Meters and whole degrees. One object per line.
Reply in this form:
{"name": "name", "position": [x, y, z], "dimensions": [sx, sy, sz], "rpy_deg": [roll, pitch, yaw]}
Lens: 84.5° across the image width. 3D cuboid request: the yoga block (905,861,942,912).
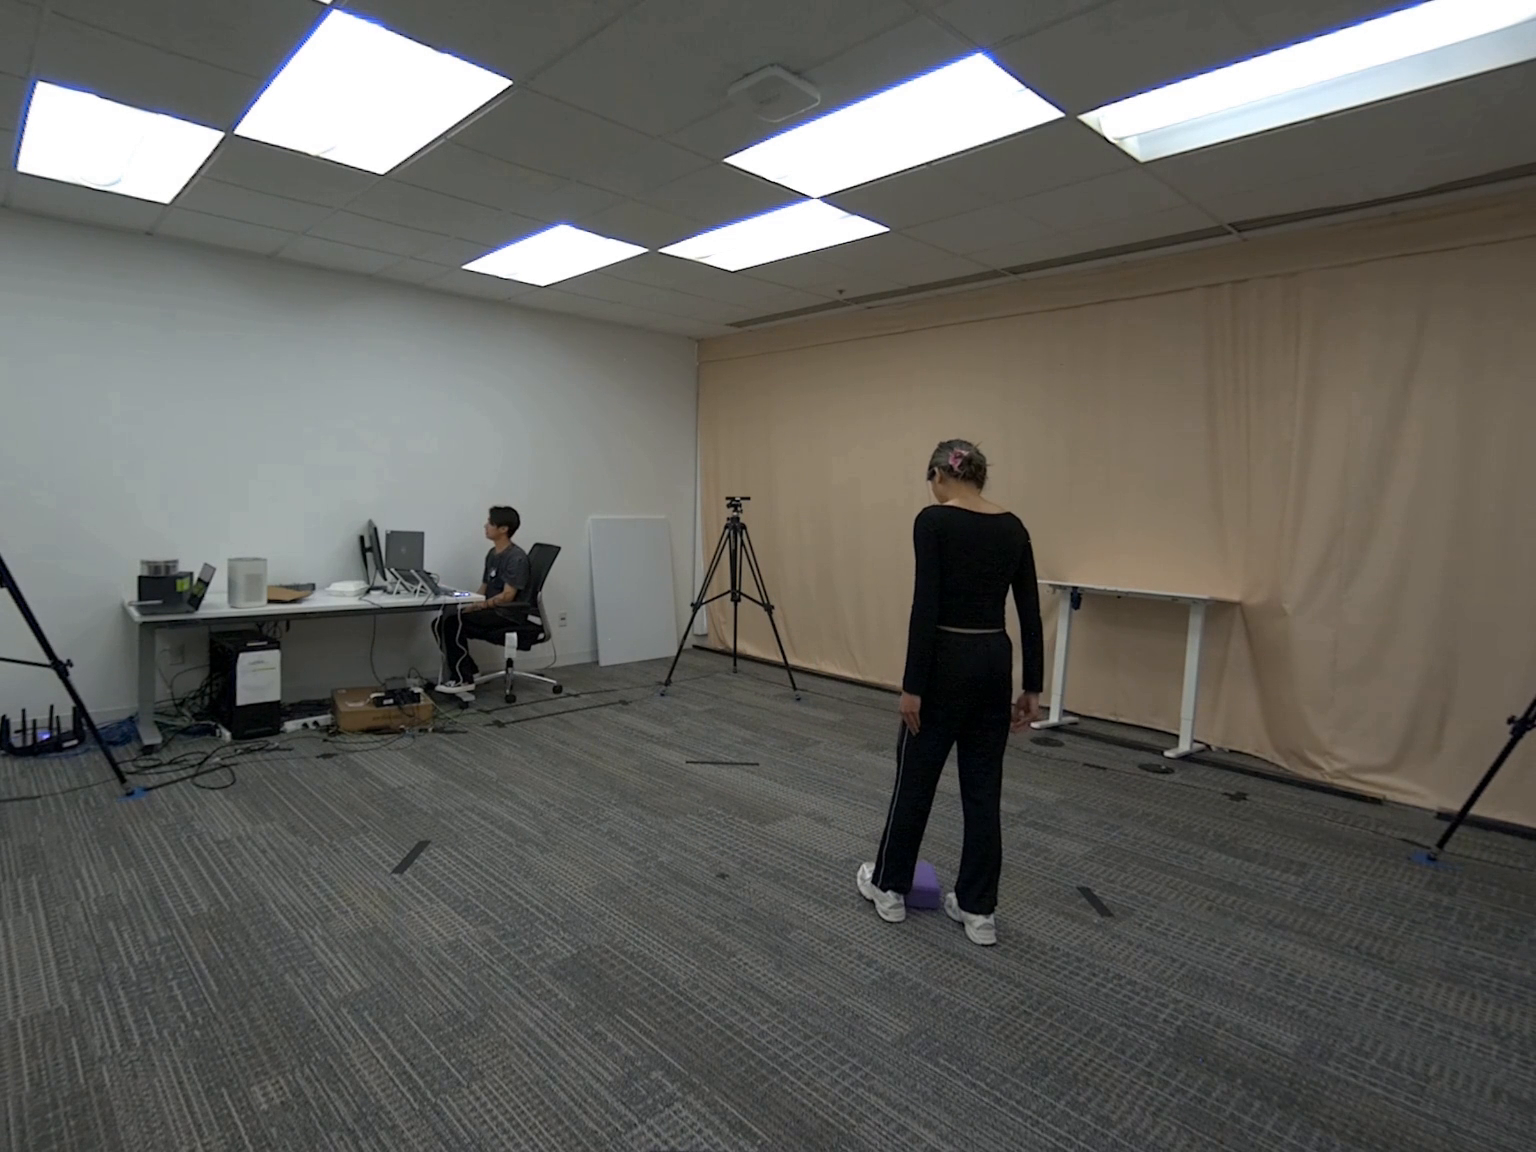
{"name": "yoga block", "position": [0.517, 1.095, 2.991], "dimensions": [0.149, 0.076, 0.229], "rpy_deg": [2, 5, 4]}
